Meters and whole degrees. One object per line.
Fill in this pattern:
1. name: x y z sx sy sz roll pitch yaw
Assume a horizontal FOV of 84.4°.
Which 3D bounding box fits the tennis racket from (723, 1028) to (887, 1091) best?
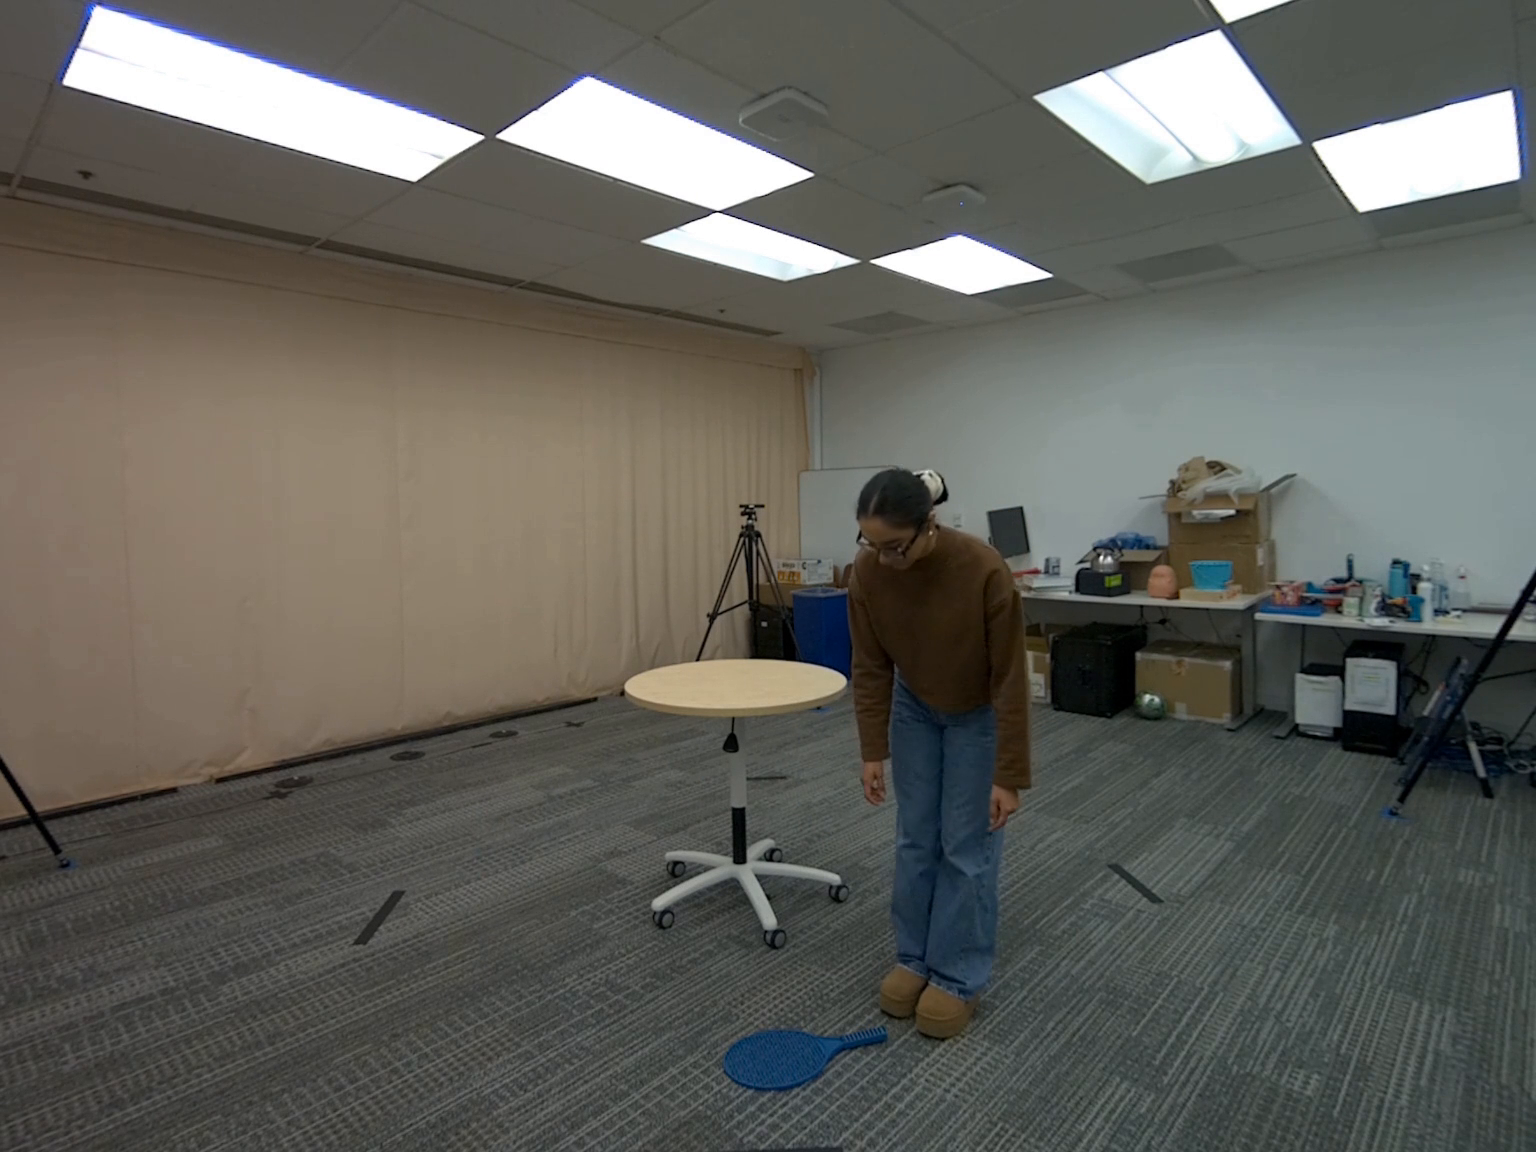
1. tennis racket: 0.113 1.200 2.124 0.427 0.031 0.217 -3 6 -14
